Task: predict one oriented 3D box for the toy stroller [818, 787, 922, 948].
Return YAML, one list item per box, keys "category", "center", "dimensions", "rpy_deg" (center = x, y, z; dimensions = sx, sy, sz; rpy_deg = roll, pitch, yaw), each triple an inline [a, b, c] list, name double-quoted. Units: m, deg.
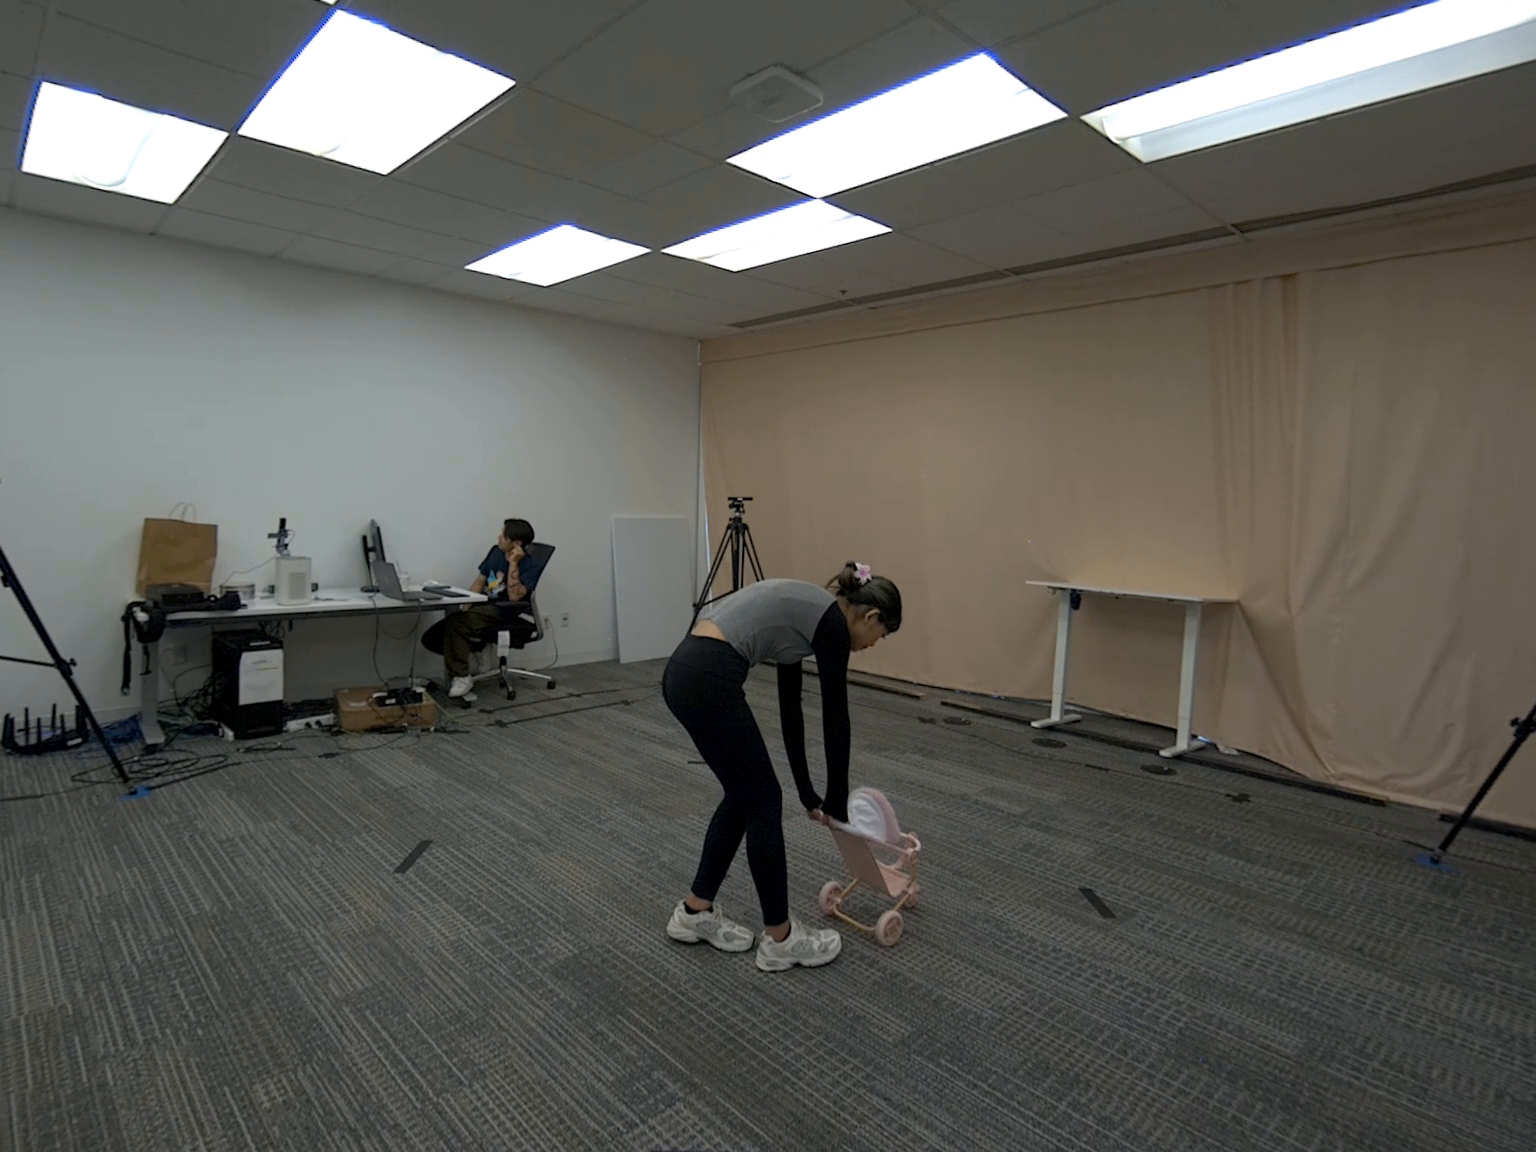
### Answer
- category: "toy stroller"
  center: [0.344, 0.926, 2.765]
  dimensions: [0.337, 0.528, 0.288]
  rpy_deg: [-22, 18, -34]
